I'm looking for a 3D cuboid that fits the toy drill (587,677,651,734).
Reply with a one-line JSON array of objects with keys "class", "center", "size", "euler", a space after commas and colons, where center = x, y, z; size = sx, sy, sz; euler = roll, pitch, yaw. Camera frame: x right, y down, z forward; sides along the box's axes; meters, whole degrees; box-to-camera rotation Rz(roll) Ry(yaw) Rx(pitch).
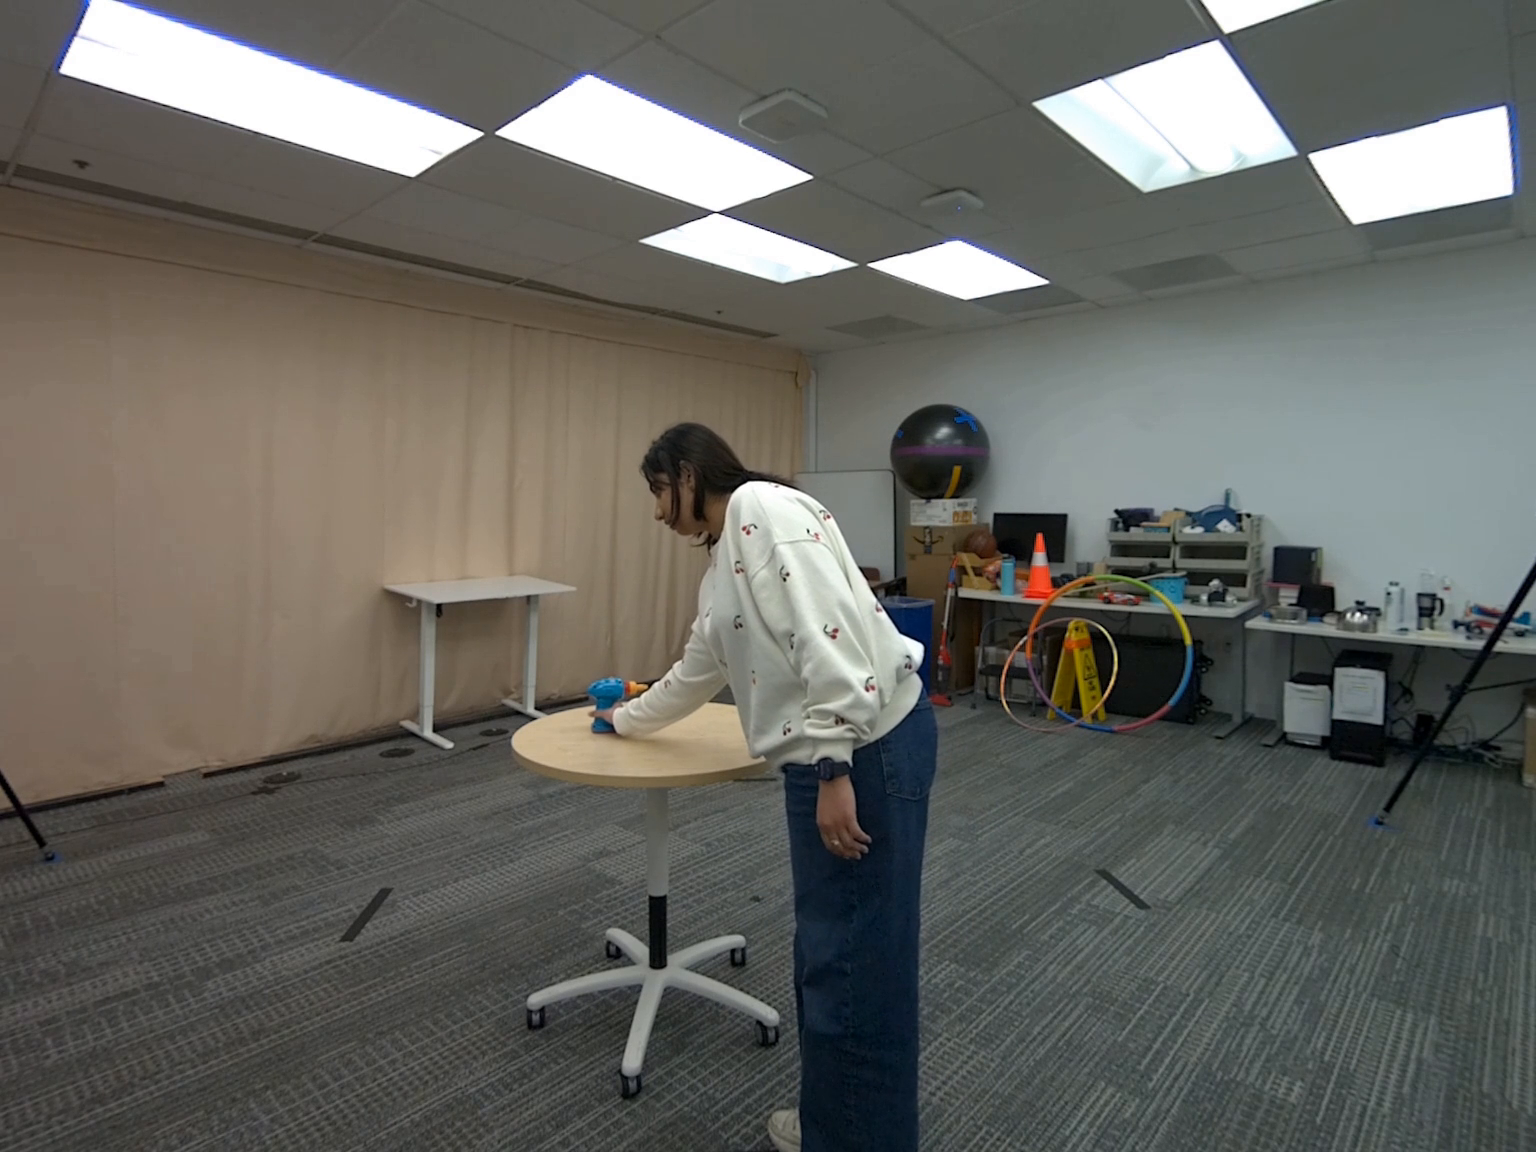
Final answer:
[{"class": "toy drill", "center": [-0.411, 0.350, 2.280], "size": [0.167, 0.146, 0.062], "euler": [-1, 2, -15]}]
